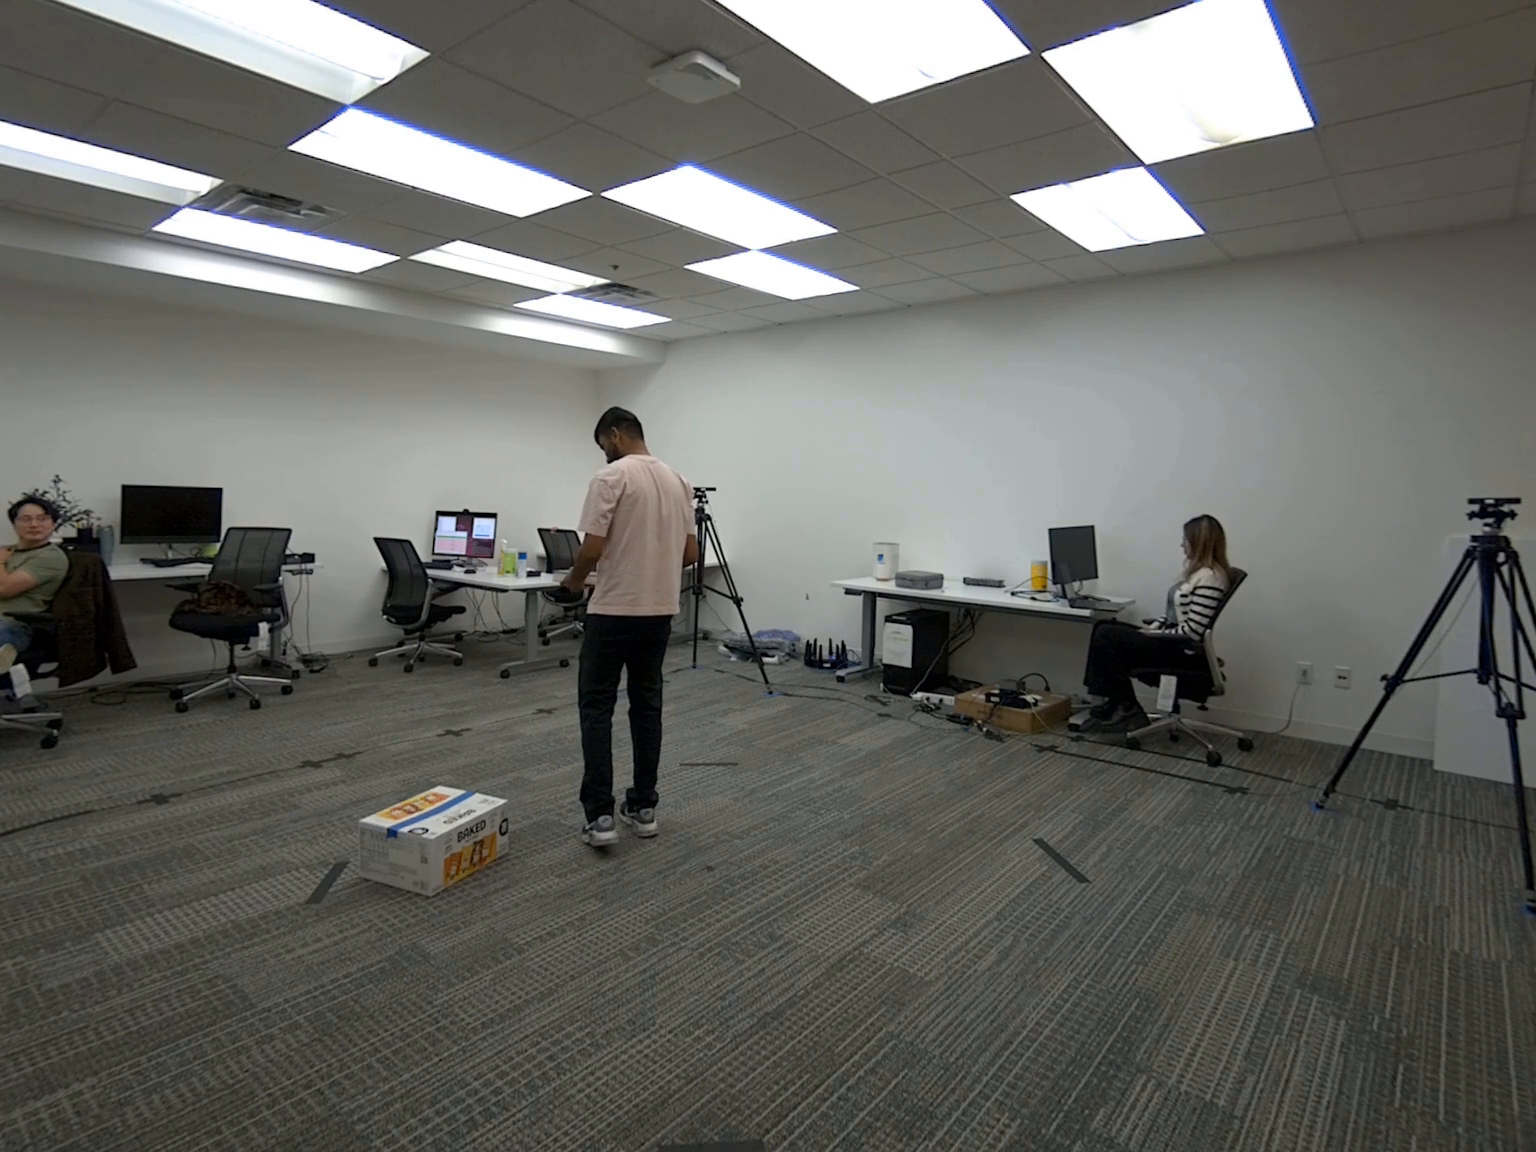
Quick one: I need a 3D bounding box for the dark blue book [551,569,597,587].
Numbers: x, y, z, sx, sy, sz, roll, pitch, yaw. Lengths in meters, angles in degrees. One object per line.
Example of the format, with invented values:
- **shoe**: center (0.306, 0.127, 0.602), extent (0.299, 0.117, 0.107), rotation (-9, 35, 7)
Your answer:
- **dark blue book**: center (-0.787, 0.007, 3.634), extent (0.249, 0.045, 0.161), rotation (6, 5, 15)
